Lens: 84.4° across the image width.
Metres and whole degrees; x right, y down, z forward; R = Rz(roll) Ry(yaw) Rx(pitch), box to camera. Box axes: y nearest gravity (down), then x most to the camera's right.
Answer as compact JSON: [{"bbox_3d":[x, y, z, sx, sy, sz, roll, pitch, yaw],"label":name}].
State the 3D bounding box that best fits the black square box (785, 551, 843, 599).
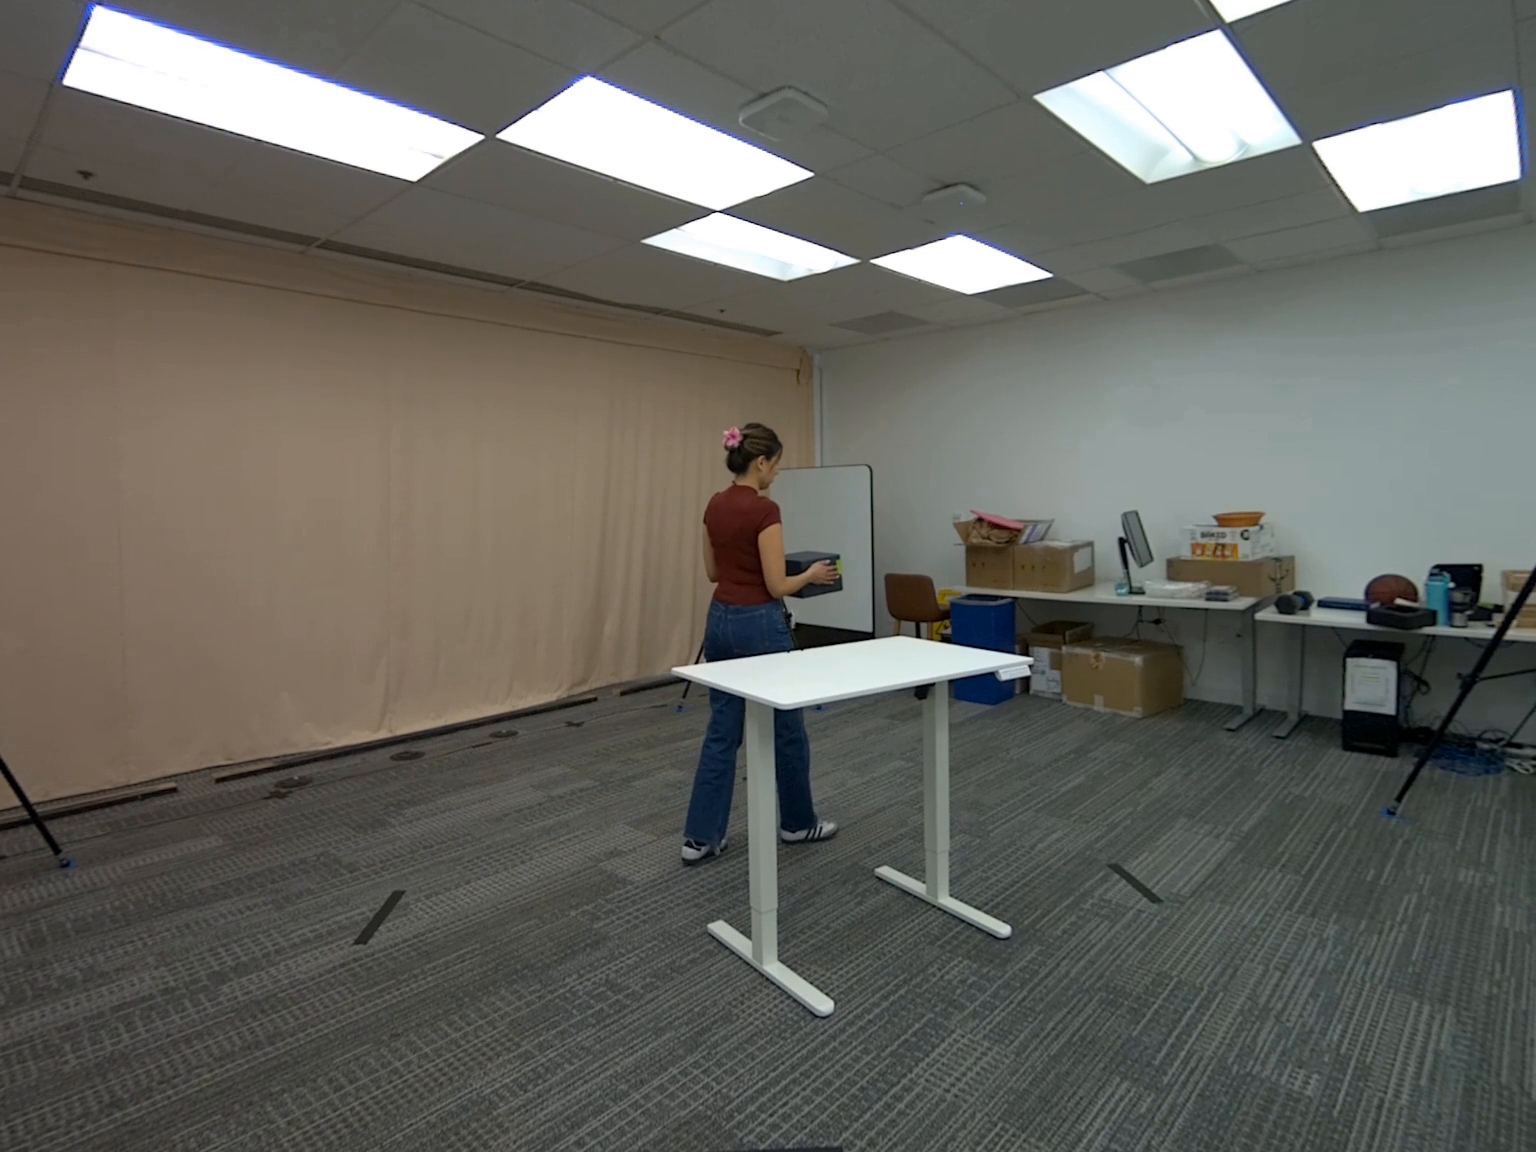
[{"bbox_3d":[0.173,-0.013,3.584,0.212,0.155,0.235,-8,10,-28],"label":"black square box"}]
